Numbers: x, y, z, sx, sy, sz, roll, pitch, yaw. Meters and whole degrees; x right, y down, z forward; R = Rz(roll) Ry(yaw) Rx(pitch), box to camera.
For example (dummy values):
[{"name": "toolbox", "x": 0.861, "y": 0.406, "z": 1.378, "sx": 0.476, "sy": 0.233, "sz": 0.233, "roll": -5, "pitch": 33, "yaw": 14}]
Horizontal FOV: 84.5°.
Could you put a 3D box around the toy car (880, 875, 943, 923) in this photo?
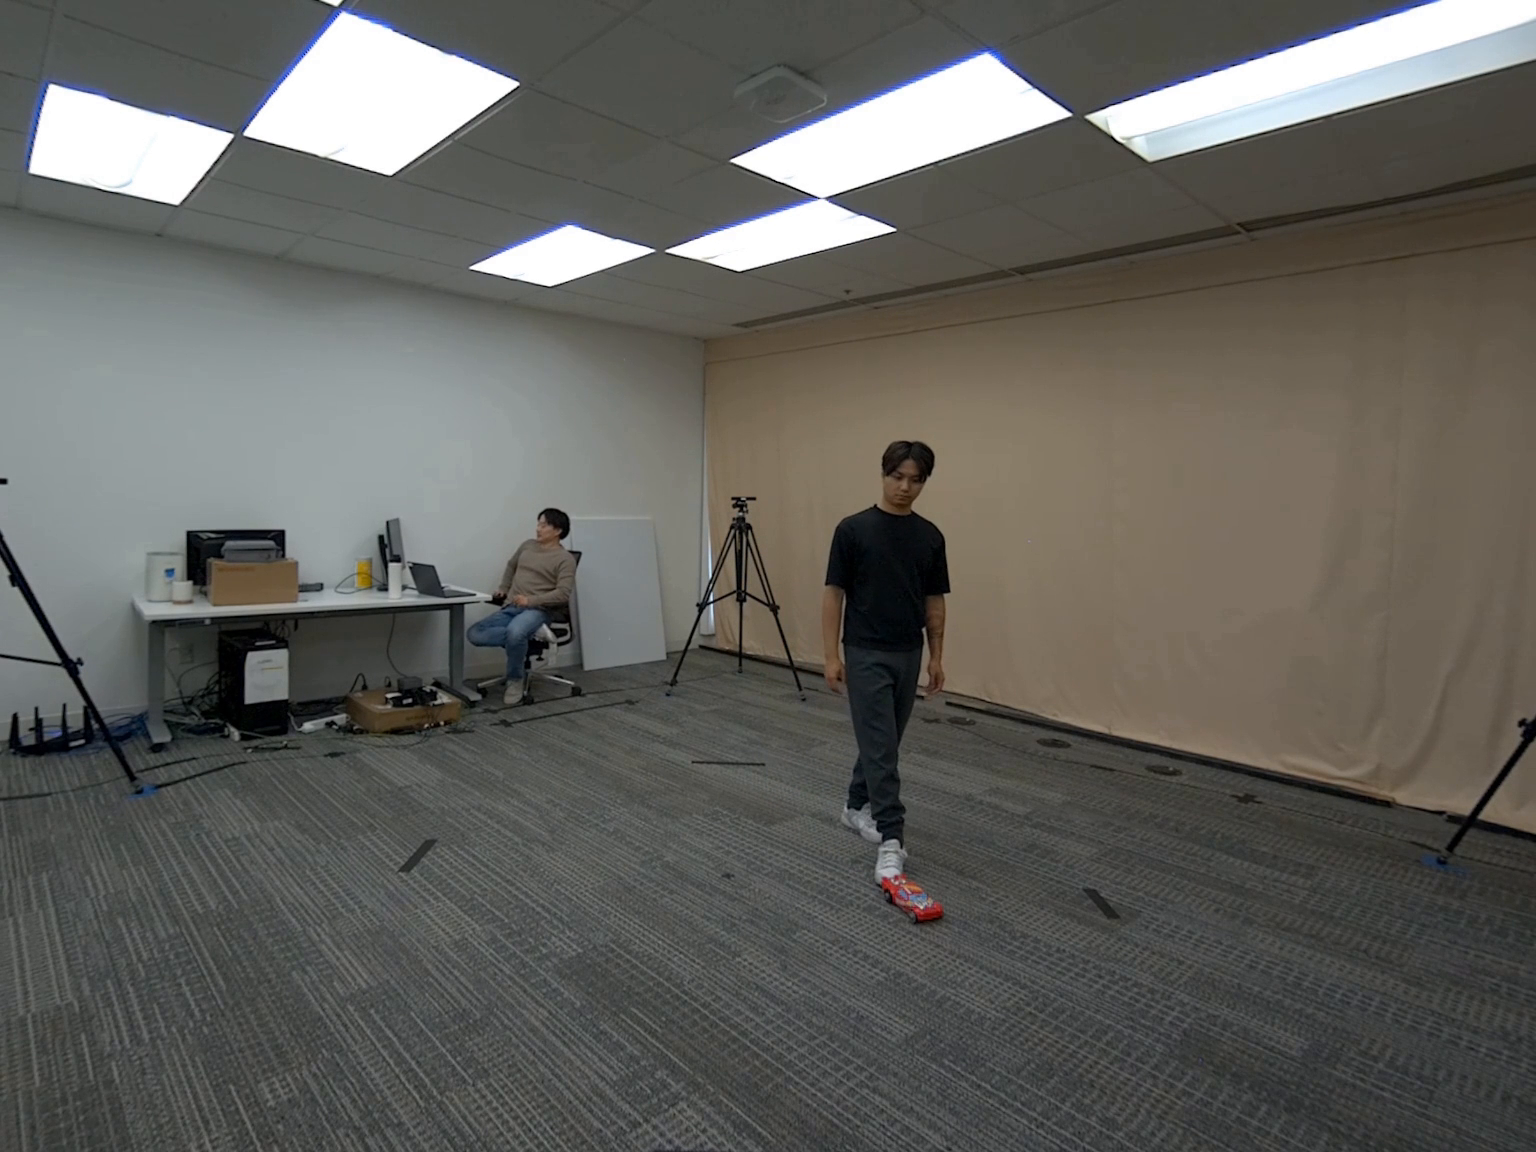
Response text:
[{"name": "toy car", "x": 0.482, "y": 1.112, "z": 2.898, "sx": 0.128, "sy": 0.082, "sz": 0.261, "roll": -1, "pitch": 17, "yaw": -24}]
